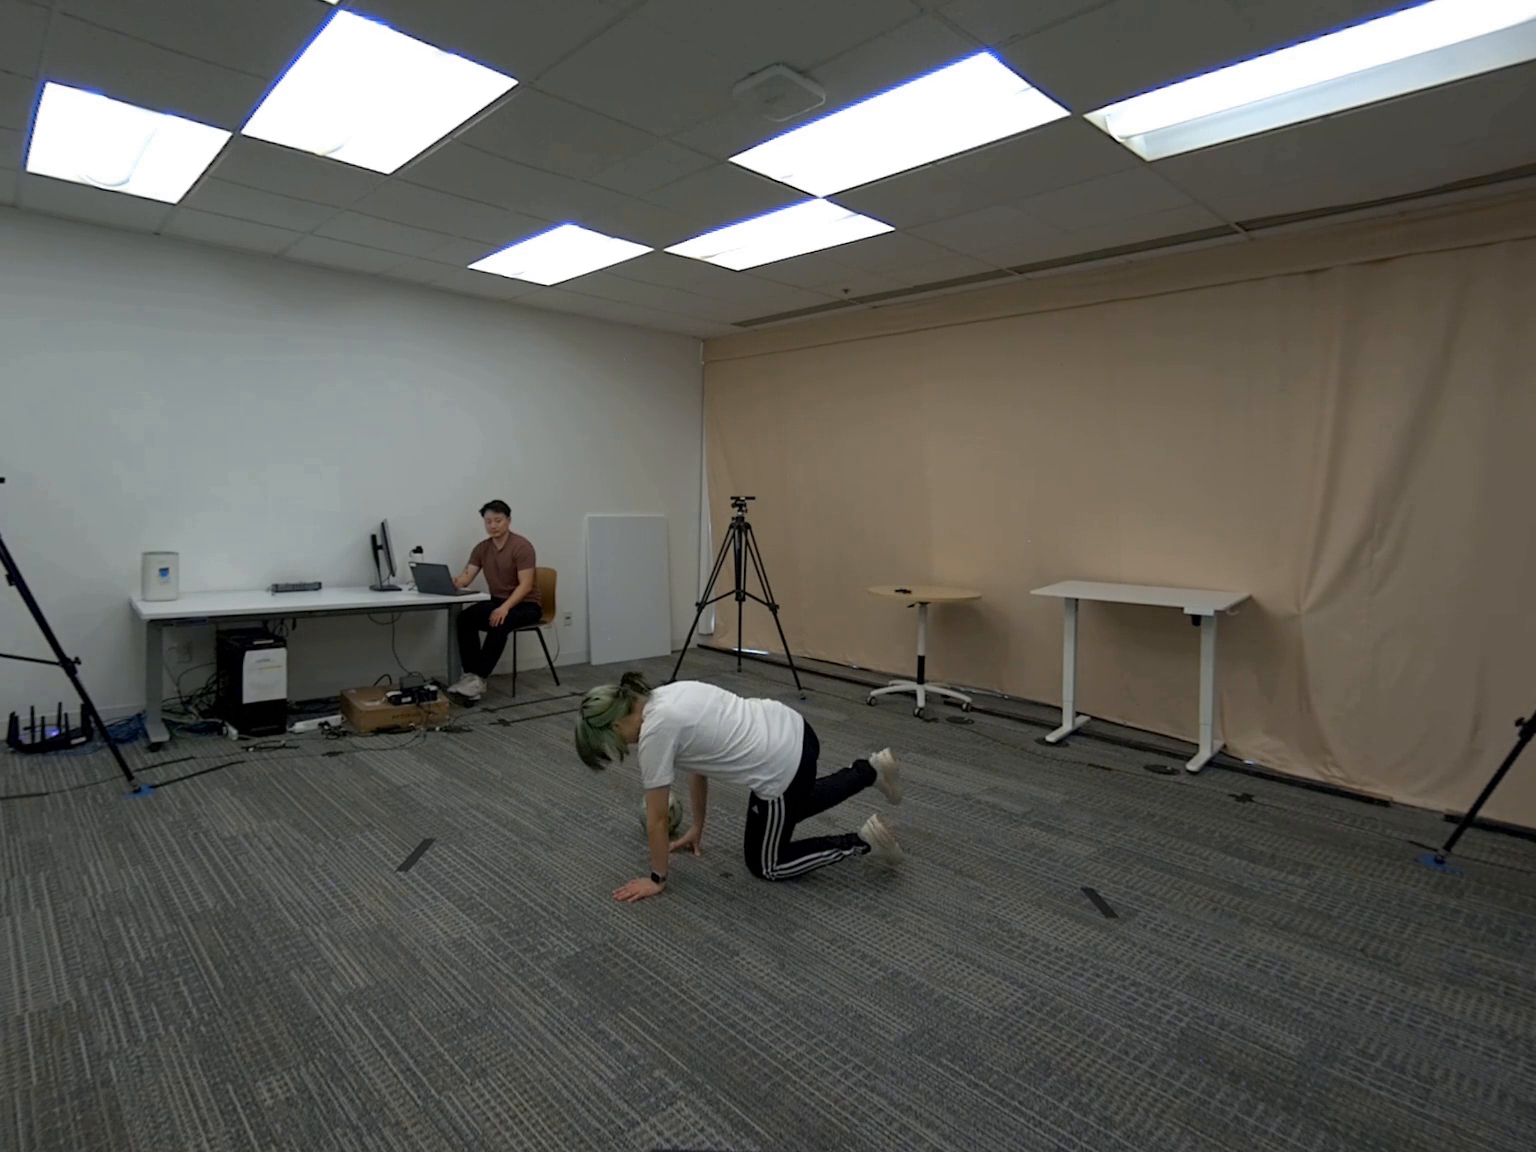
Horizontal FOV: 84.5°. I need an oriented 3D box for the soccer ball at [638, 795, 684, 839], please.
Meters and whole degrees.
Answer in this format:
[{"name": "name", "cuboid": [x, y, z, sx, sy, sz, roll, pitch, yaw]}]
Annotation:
[{"name": "soccer ball", "cuboid": [-0.450, 0.971, 3.474, 0.187, 0.187, 0.188, 1, 4, -1]}]
